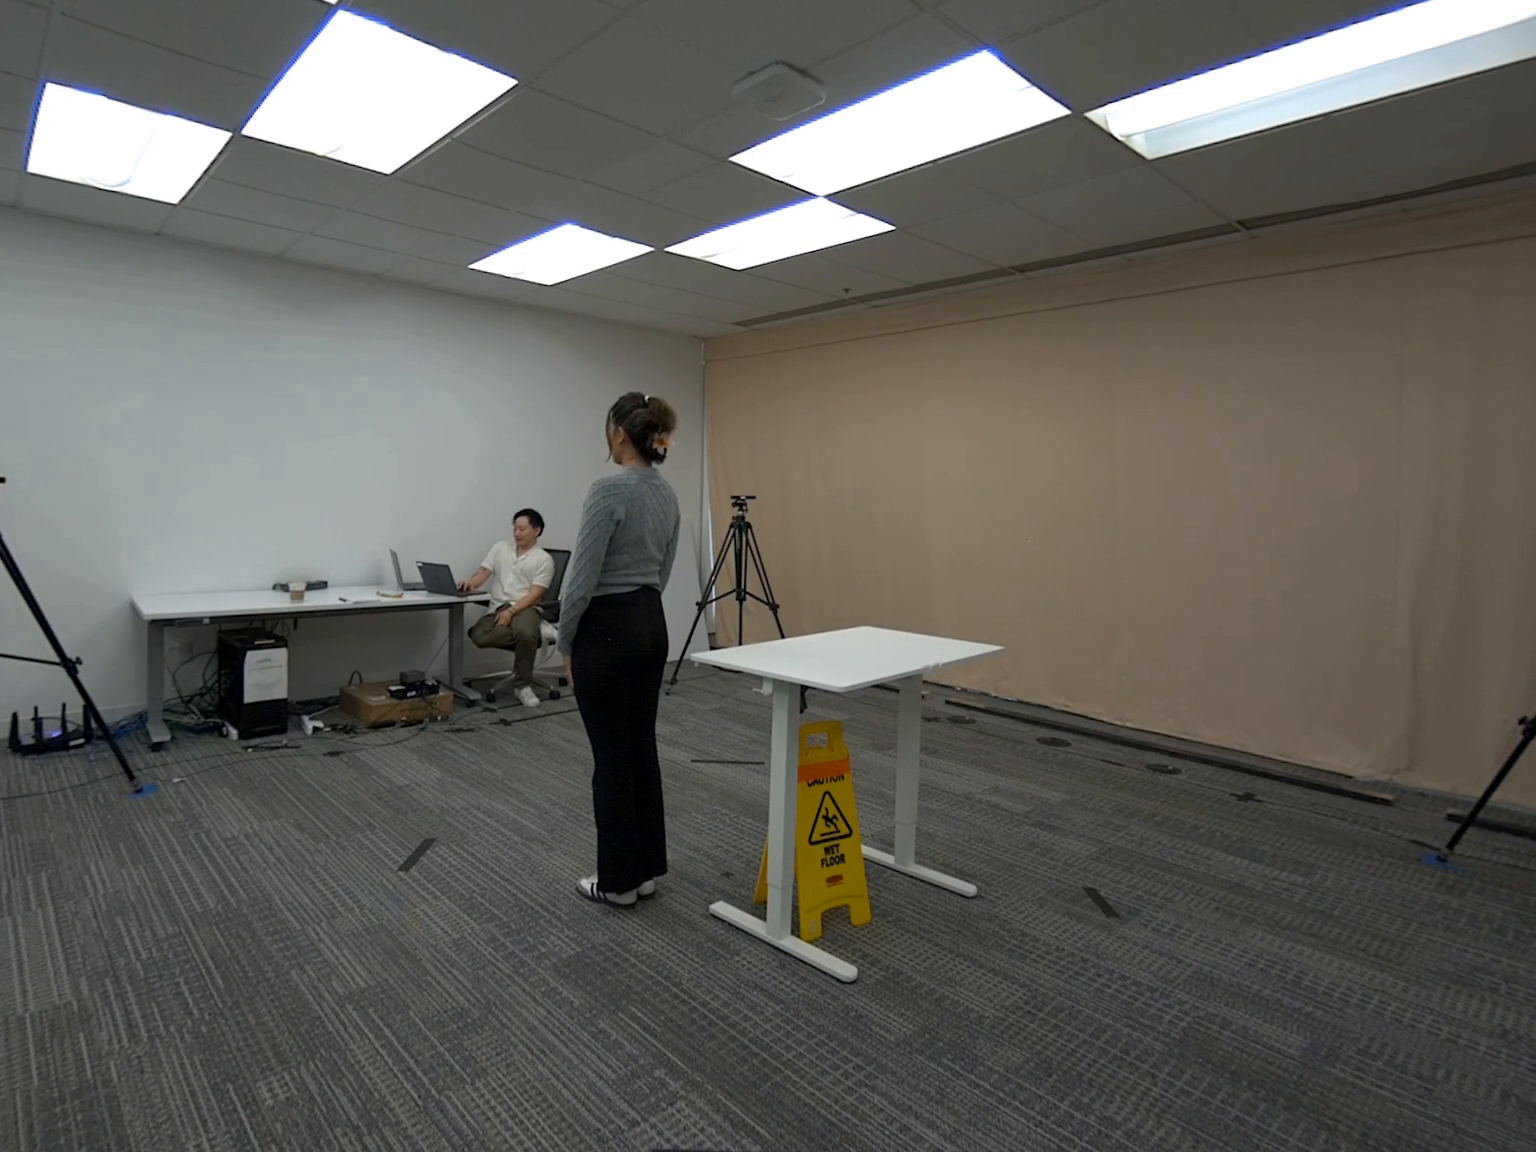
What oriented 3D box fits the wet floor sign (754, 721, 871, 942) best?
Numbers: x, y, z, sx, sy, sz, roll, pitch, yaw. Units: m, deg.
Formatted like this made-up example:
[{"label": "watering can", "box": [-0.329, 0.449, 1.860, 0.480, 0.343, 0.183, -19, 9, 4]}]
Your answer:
[{"label": "wet floor sign", "box": [0.152, 0.812, 2.813, 0.276, 0.644, 0.297, -1, 5, -32]}]
